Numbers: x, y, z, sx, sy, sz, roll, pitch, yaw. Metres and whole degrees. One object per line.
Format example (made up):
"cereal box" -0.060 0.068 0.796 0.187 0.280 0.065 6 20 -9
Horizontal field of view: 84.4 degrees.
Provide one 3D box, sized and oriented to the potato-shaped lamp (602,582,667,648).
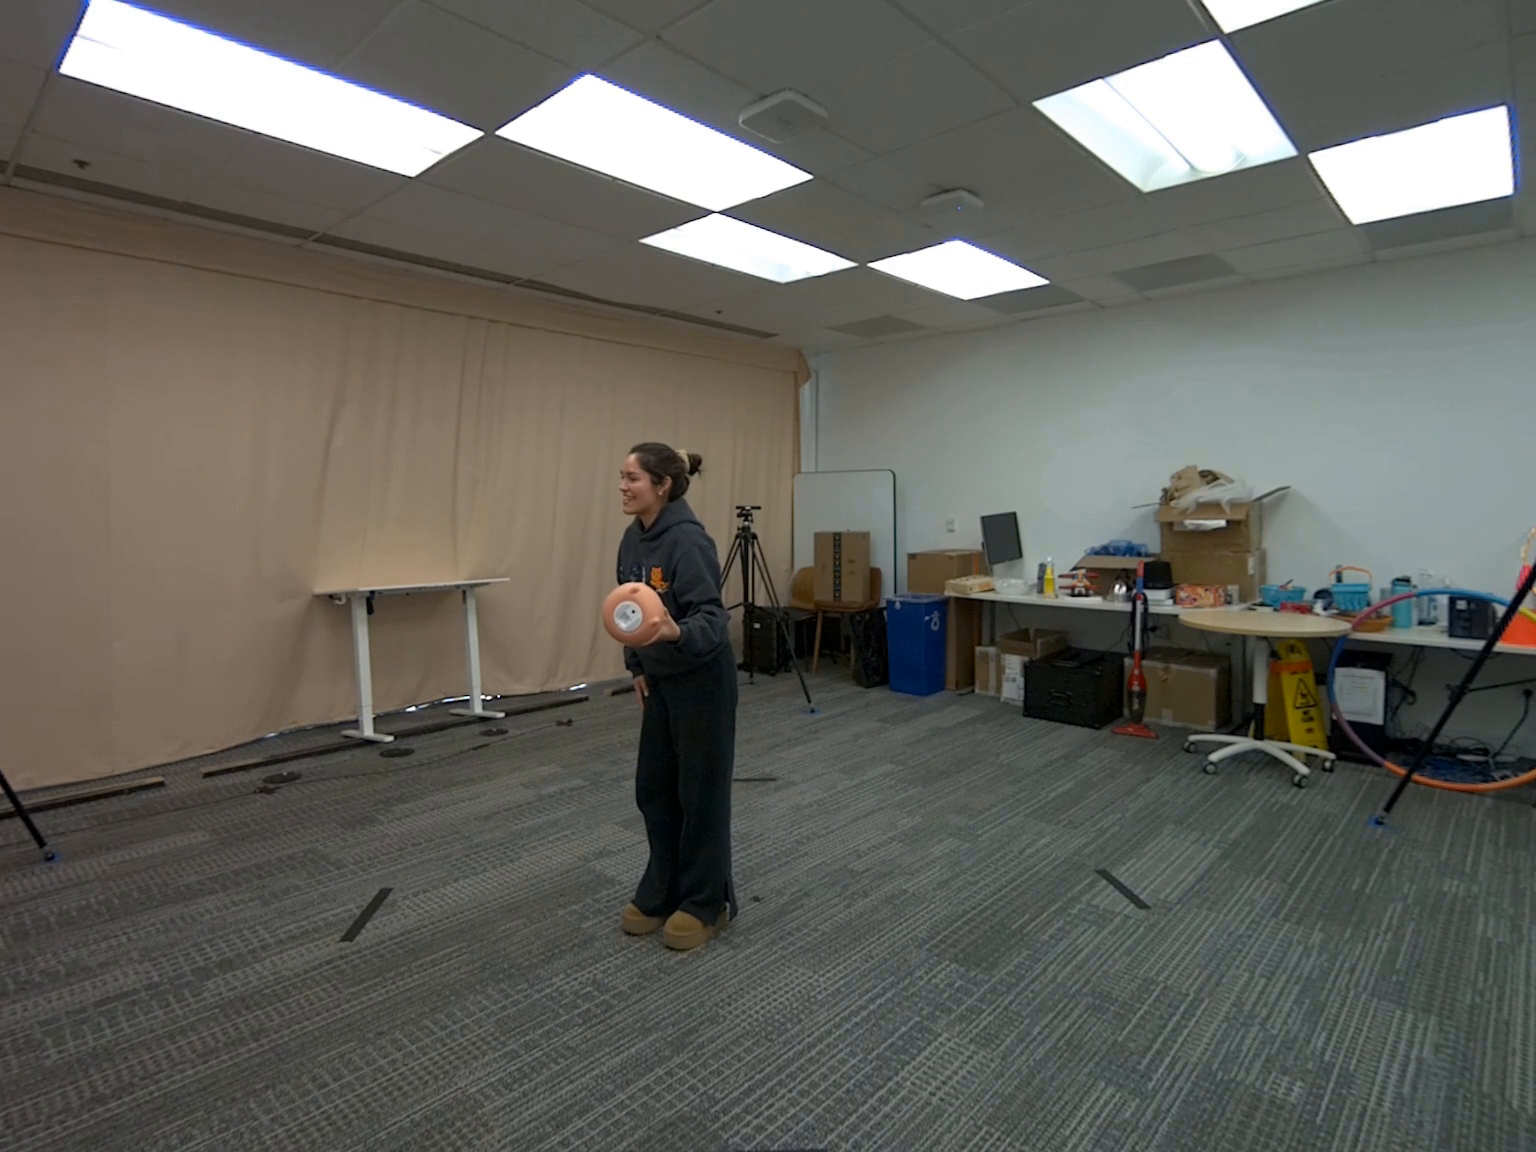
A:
"potato-shaped lamp" -0.351 0.099 2.308 0.172 0.165 0.196 -36 -2 13
